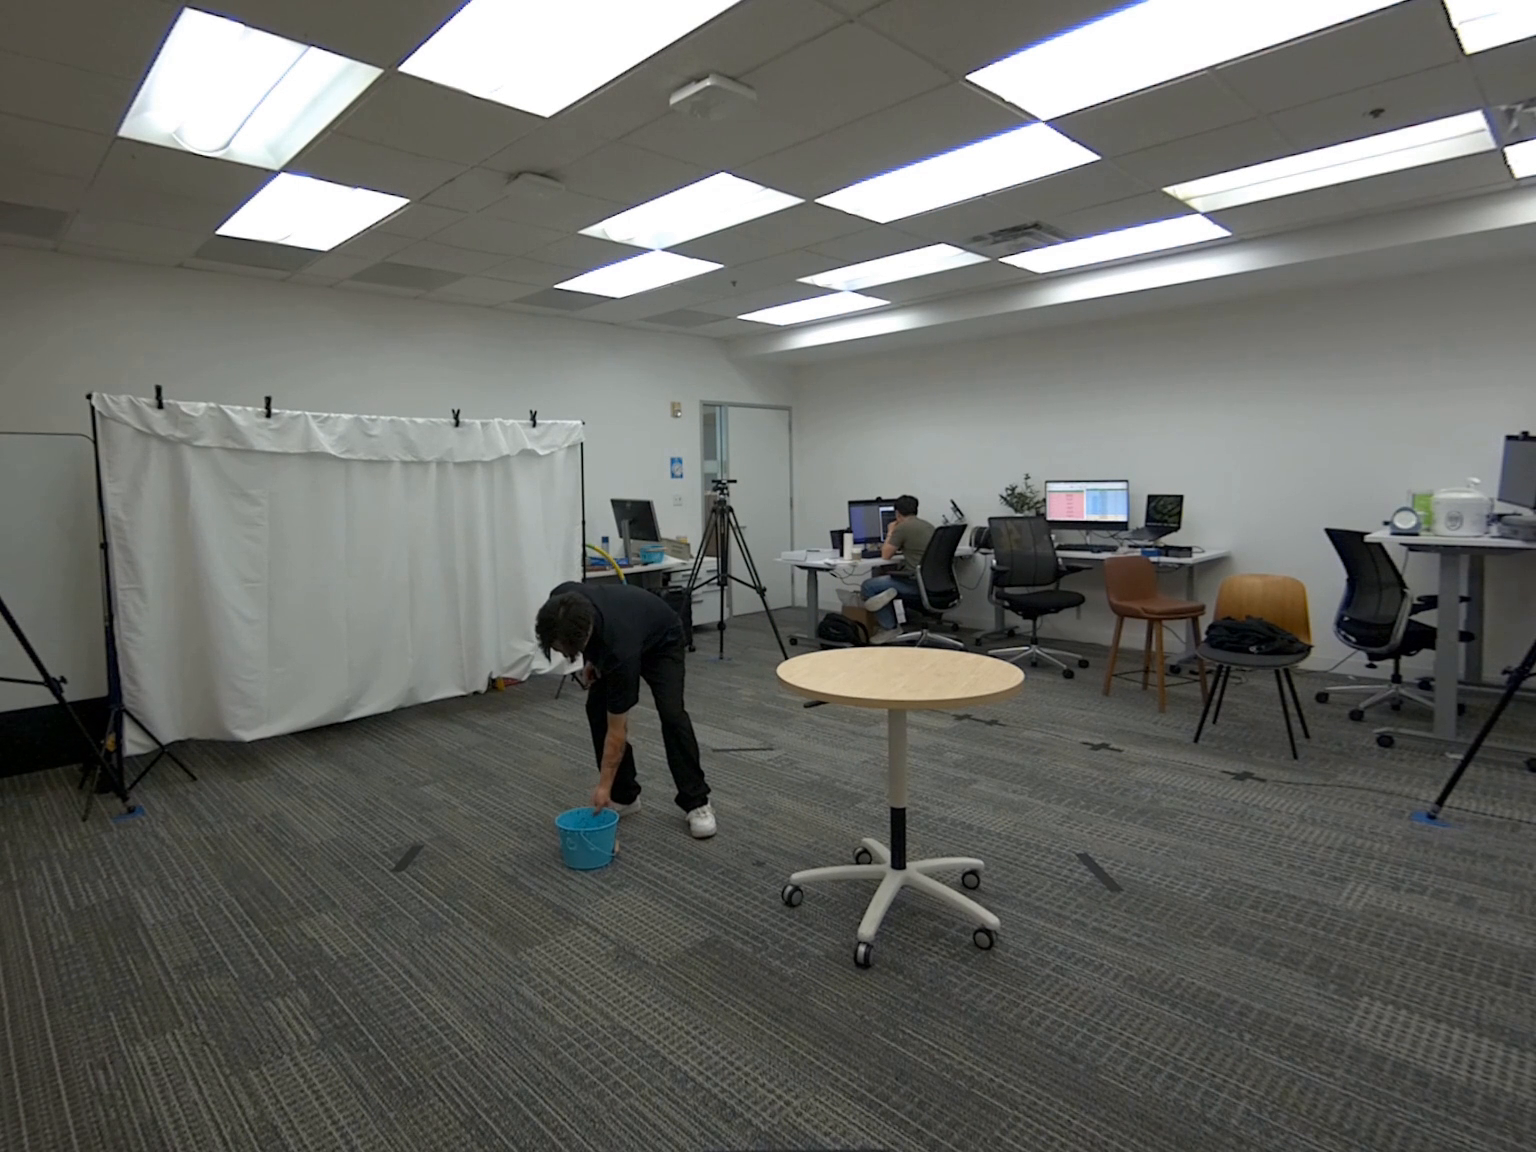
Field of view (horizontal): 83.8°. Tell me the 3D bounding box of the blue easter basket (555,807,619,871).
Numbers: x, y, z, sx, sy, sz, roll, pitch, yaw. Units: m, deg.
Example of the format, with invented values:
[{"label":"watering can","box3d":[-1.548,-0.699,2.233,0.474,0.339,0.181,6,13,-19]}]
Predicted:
[{"label":"blue easter basket","box3d":[-0.664,0.968,3.167,0.243,0.155,0.245,-1,5,-2]}]
